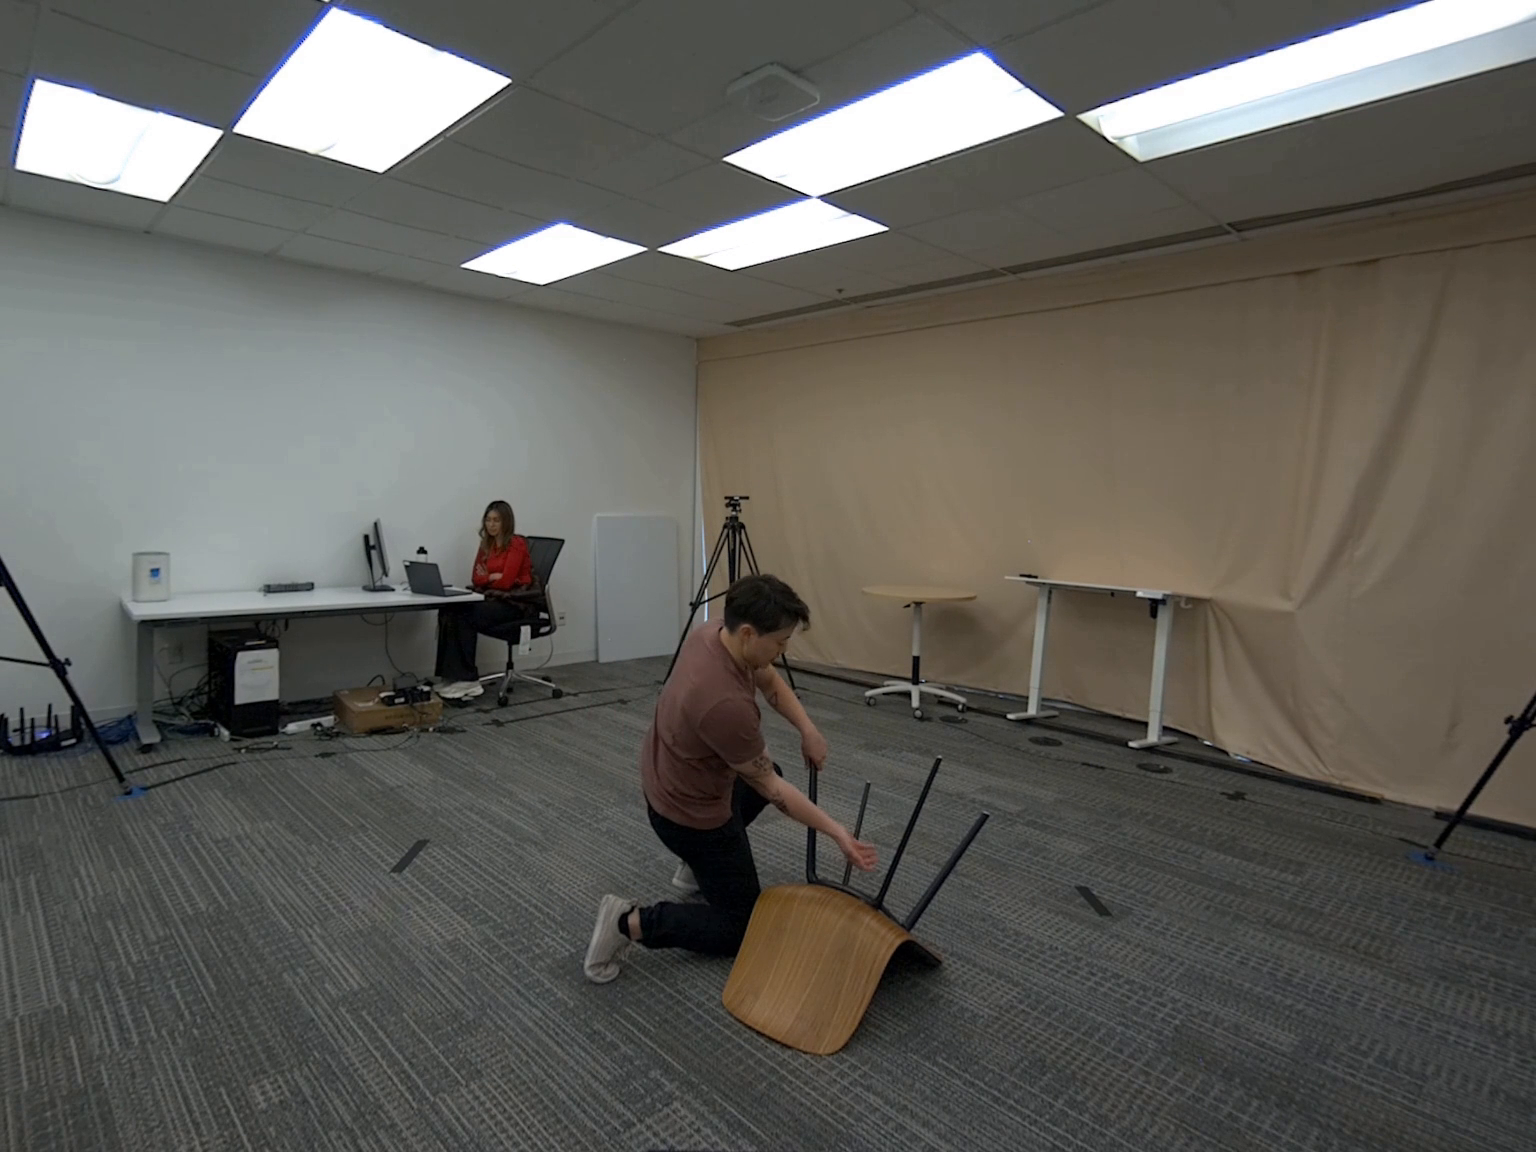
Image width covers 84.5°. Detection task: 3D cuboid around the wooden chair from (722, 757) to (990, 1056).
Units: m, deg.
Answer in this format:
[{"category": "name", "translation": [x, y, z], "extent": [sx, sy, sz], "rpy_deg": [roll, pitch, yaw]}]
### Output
[{"category": "wooden chair", "translation": [0.270, 0.998, 2.537], "extent": [0.490, 0.883, 0.507], "rpy_deg": [4, -35, 37]}]
